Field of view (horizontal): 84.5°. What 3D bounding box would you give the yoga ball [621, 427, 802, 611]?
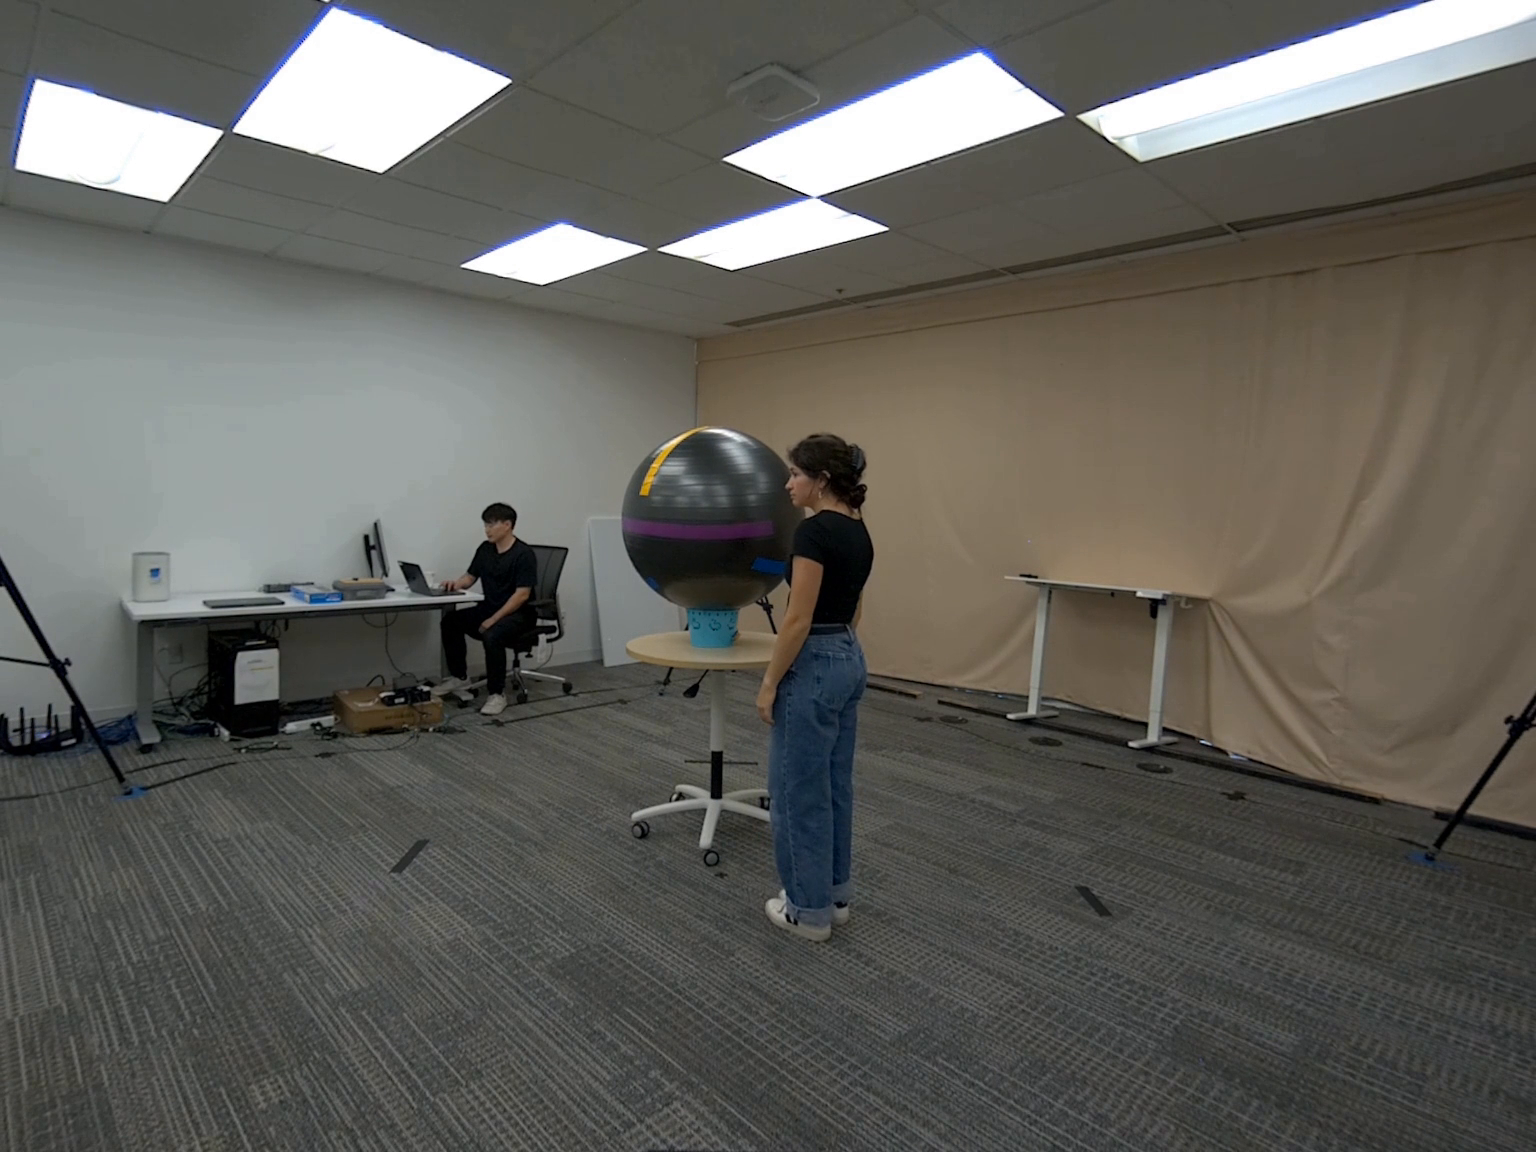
[{"bbox_3d":[-0.232,-0.231,3.488,0.757,0.756,0.761,1,4,-1],"label":"yoga ball"}]
